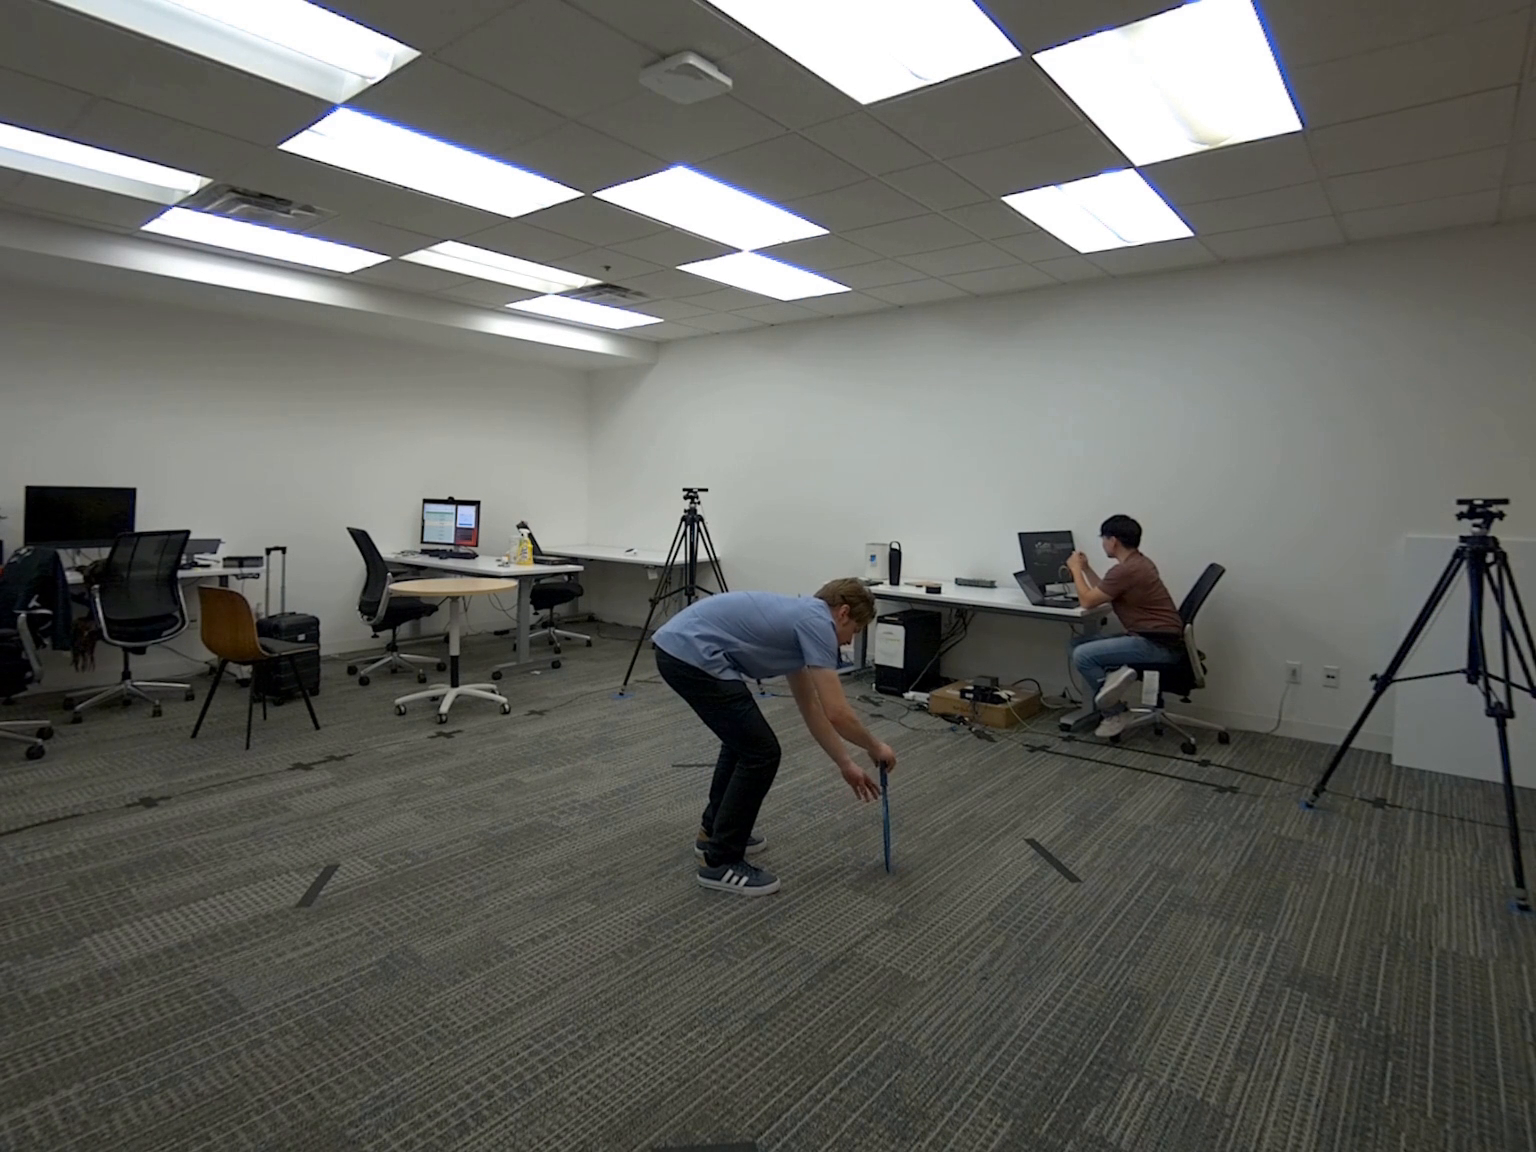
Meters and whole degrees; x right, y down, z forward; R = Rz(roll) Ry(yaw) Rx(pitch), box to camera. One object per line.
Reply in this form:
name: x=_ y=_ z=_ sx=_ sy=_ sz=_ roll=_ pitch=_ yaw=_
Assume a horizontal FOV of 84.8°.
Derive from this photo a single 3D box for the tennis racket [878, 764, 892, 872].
tennis racket: x=0.420 y=0.862 z=3.140 sx=0.032 sy=0.431 sz=0.212 roll=-3 pitch=4 yaw=11
